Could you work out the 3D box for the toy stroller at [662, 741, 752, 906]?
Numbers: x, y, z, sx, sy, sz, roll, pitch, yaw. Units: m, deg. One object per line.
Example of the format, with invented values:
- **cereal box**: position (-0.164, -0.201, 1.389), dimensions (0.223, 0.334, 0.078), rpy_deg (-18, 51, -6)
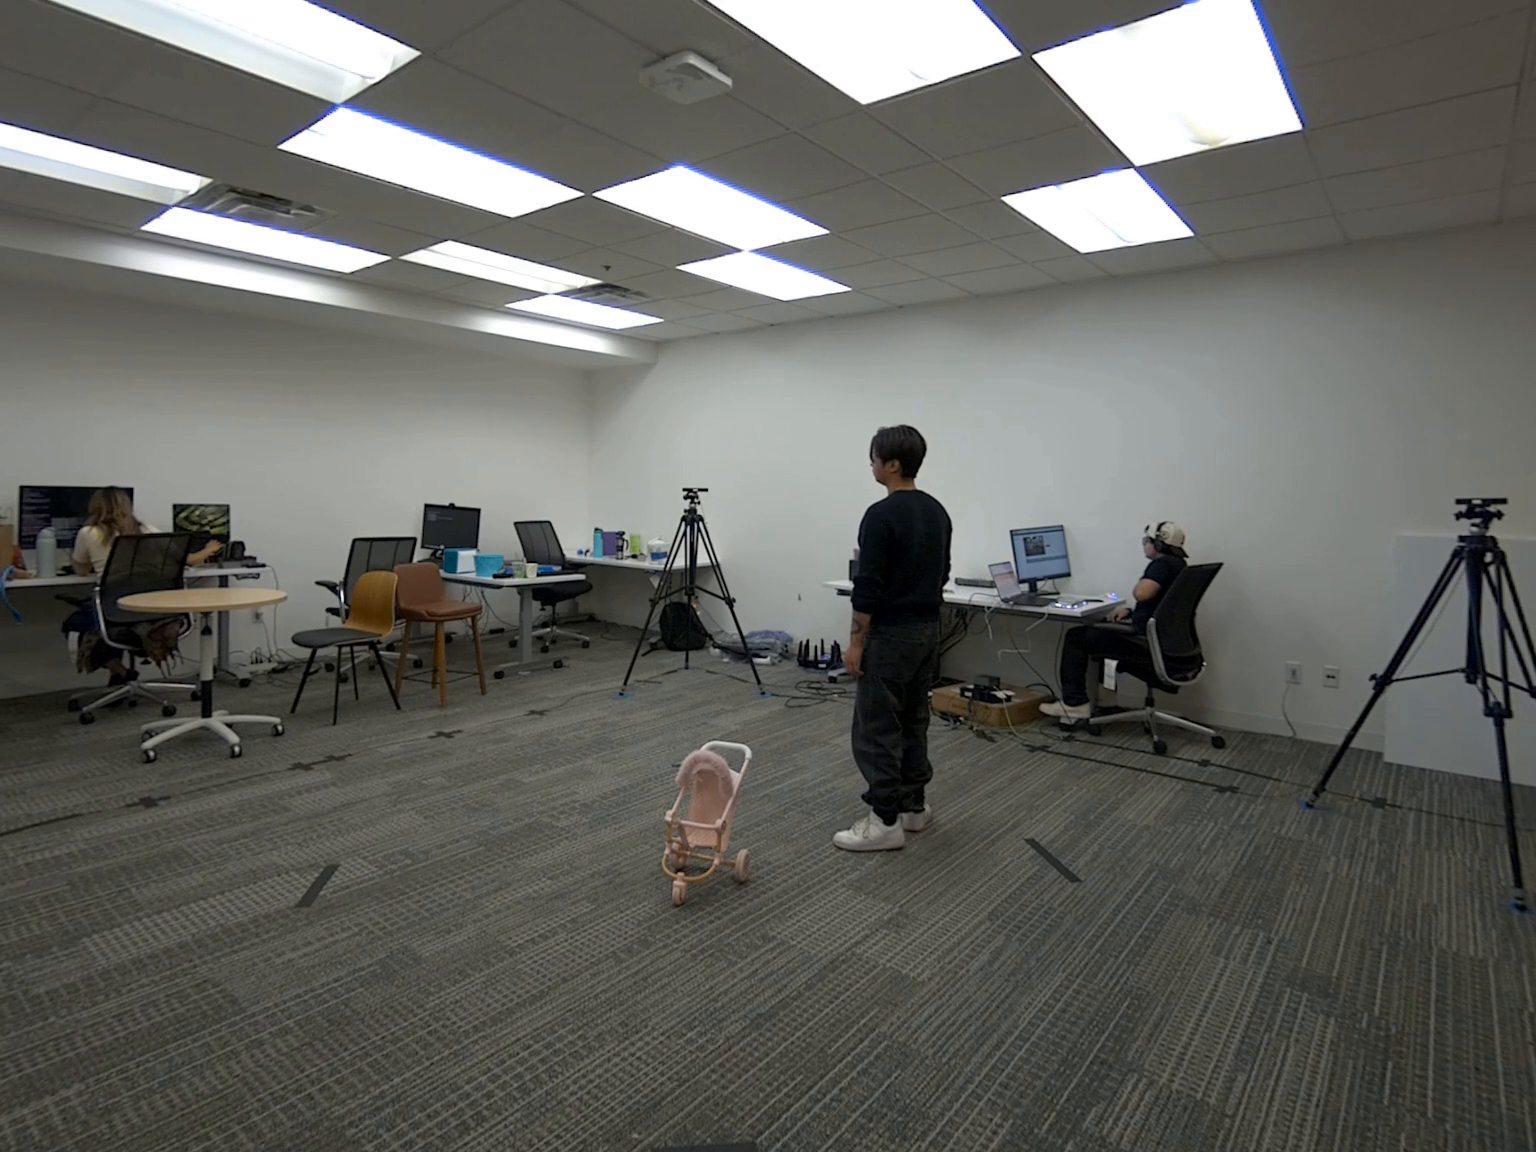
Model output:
- **toy stroller**: position (-0.238, 0.853, 3.001), dimensions (0.289, 0.540, 0.329), rpy_deg (2, -12, 25)
